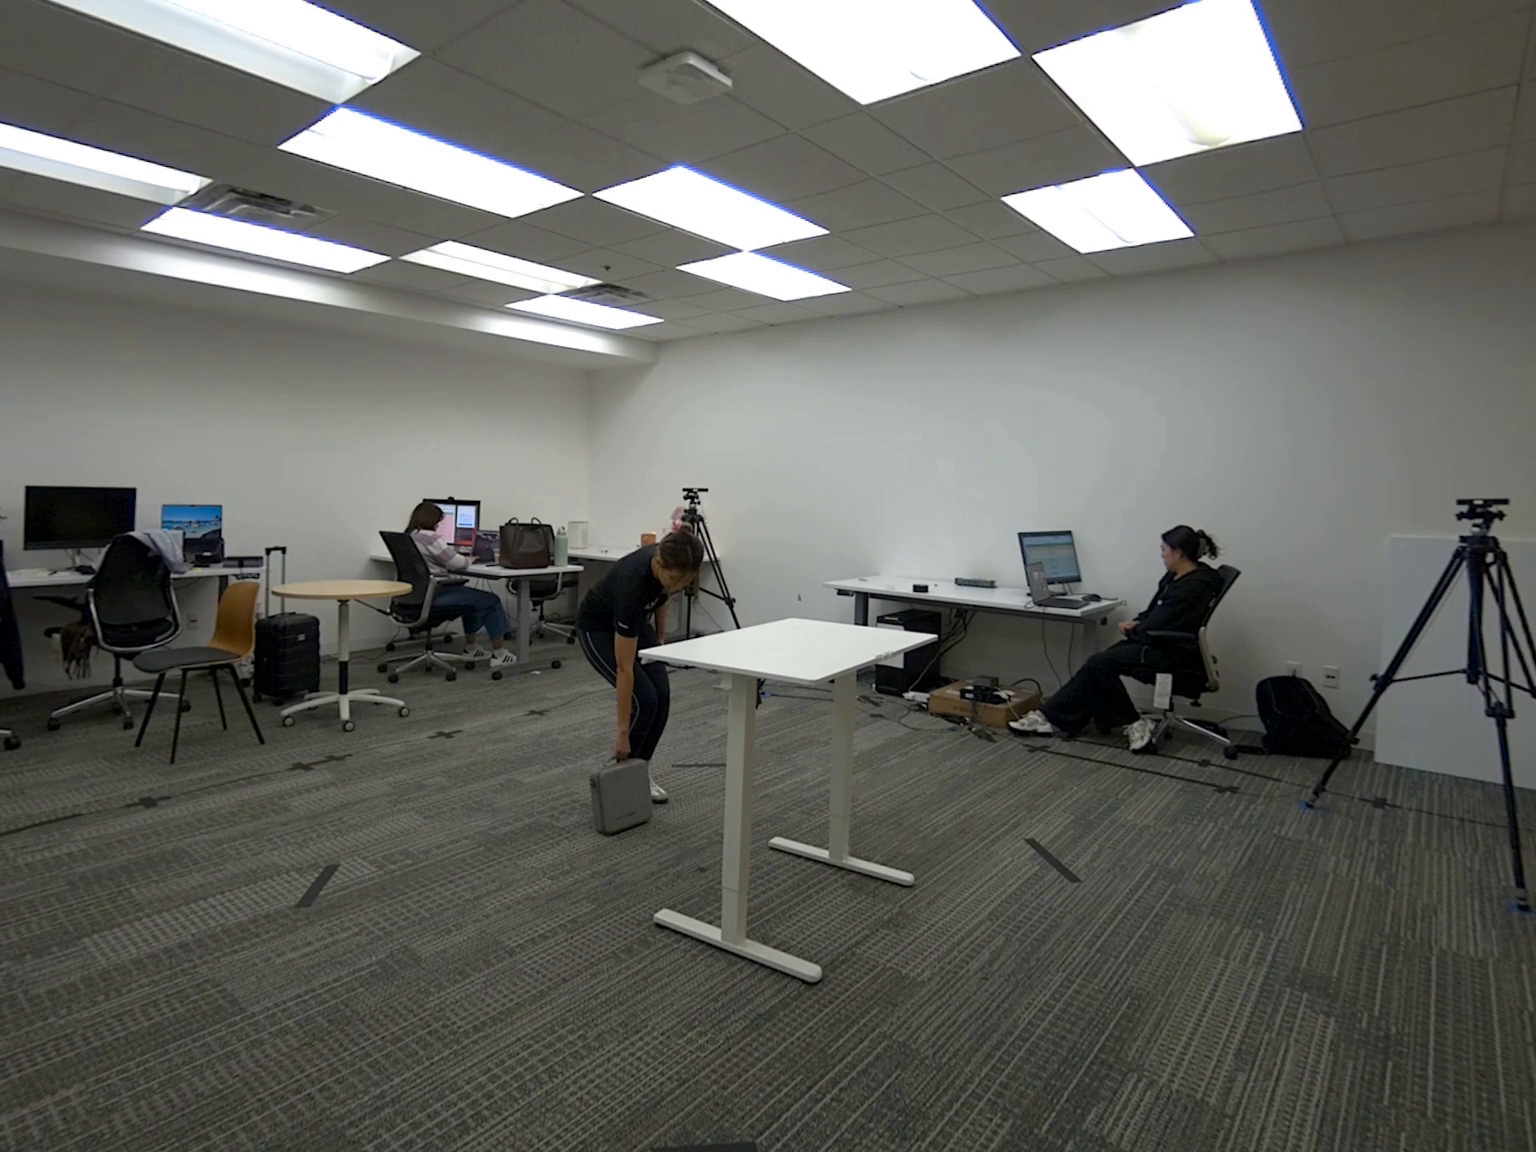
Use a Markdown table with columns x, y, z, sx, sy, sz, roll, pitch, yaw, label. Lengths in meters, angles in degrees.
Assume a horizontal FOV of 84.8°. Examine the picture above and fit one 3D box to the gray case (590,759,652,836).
| x | y | z | sx | sy | sz | roll | pitch | yaw | label |
| --- | --- | --- | --- | --- | --- | --- | --- | --- | --- |
| -0.620 | 0.892 | 3.502 | 0.107 | 0.261 | 0.249 | -8 | -4 | 44 | gray case |
